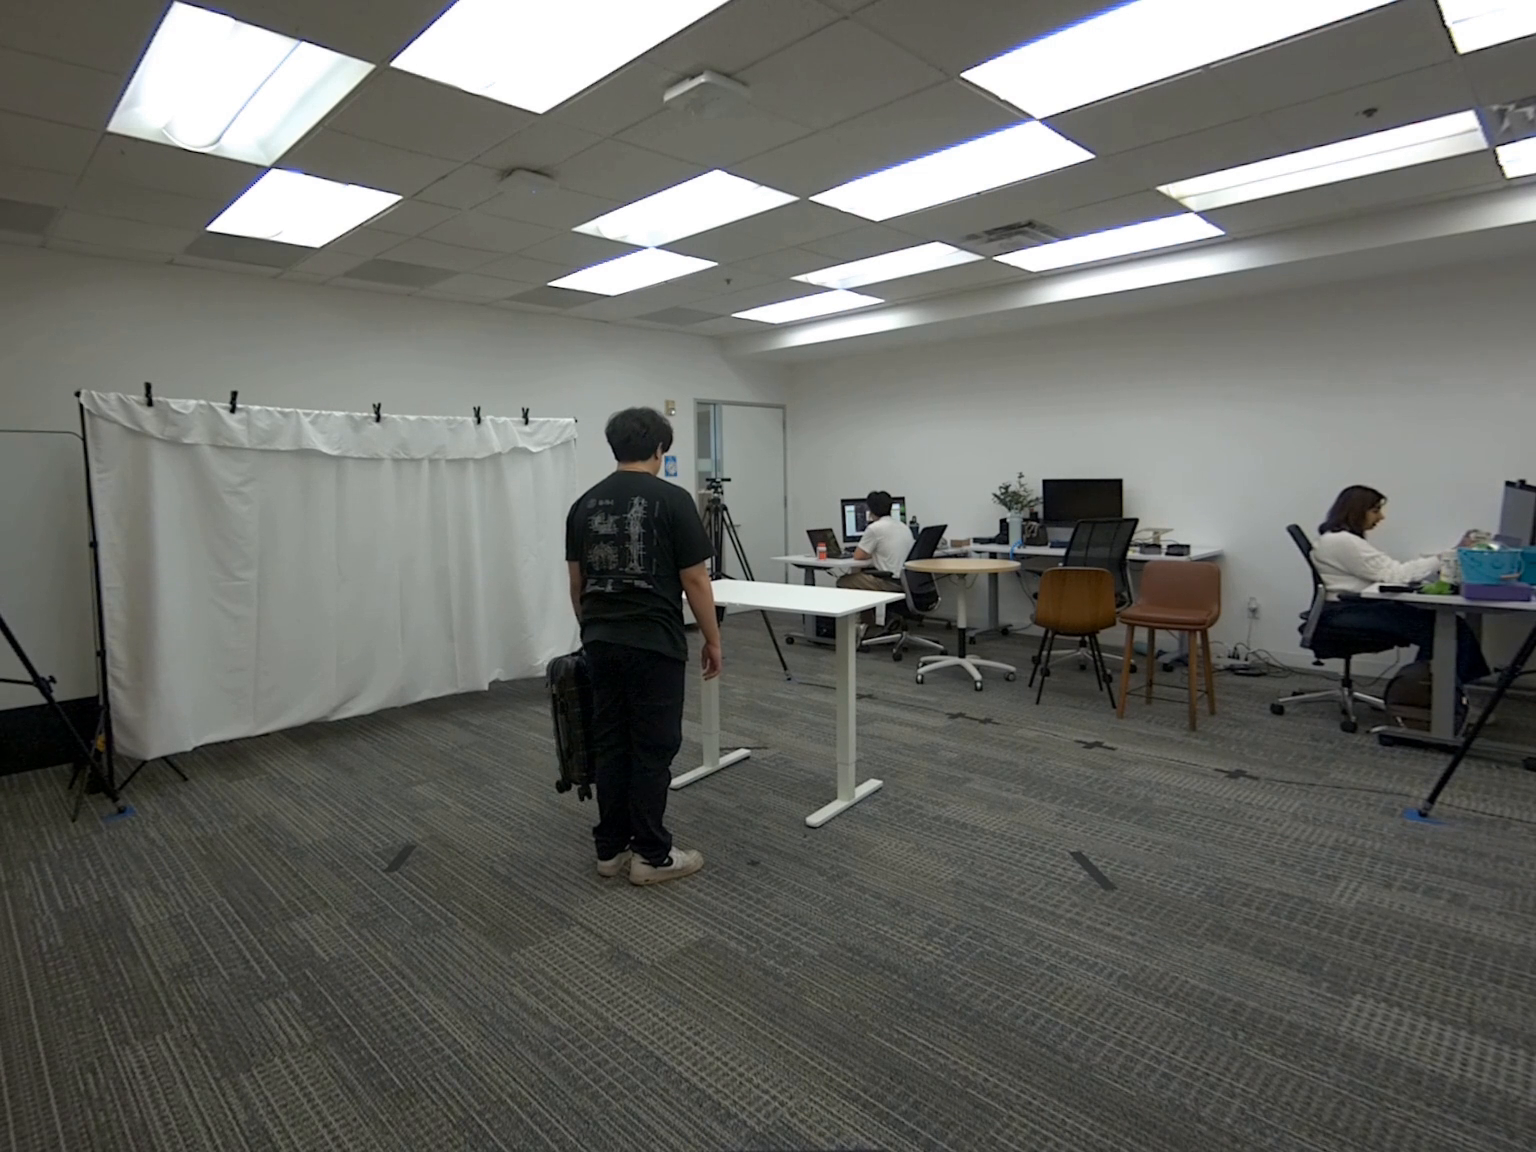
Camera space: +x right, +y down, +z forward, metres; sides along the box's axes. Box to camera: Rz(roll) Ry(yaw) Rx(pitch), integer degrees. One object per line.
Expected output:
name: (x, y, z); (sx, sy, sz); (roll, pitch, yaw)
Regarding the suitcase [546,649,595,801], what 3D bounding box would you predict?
suitcase: (-0.656, 0.547, 3.358); (0.367, 0.549, 0.254); (-8, 1, -32)
